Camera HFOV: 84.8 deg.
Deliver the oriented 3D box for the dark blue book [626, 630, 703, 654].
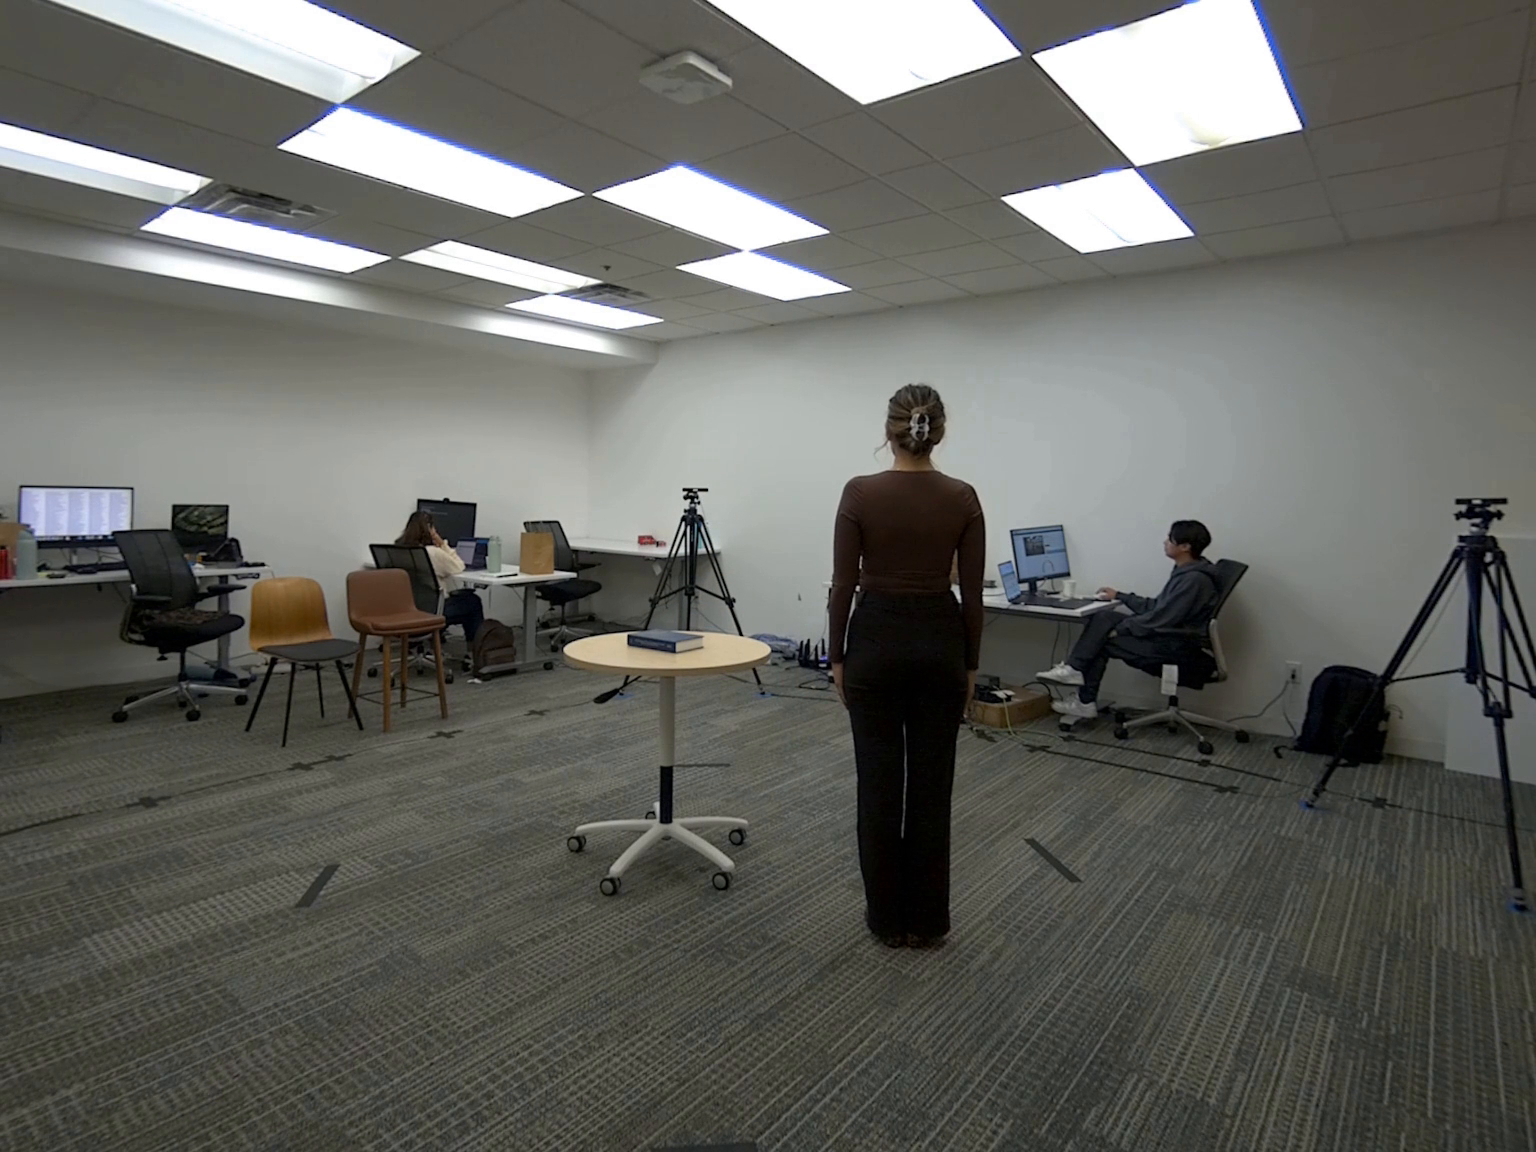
[{"bbox_3d":[-0.394,0.240,3.183,0.253,0.045,0.159,4,6,36],"label":"dark blue book"}]
